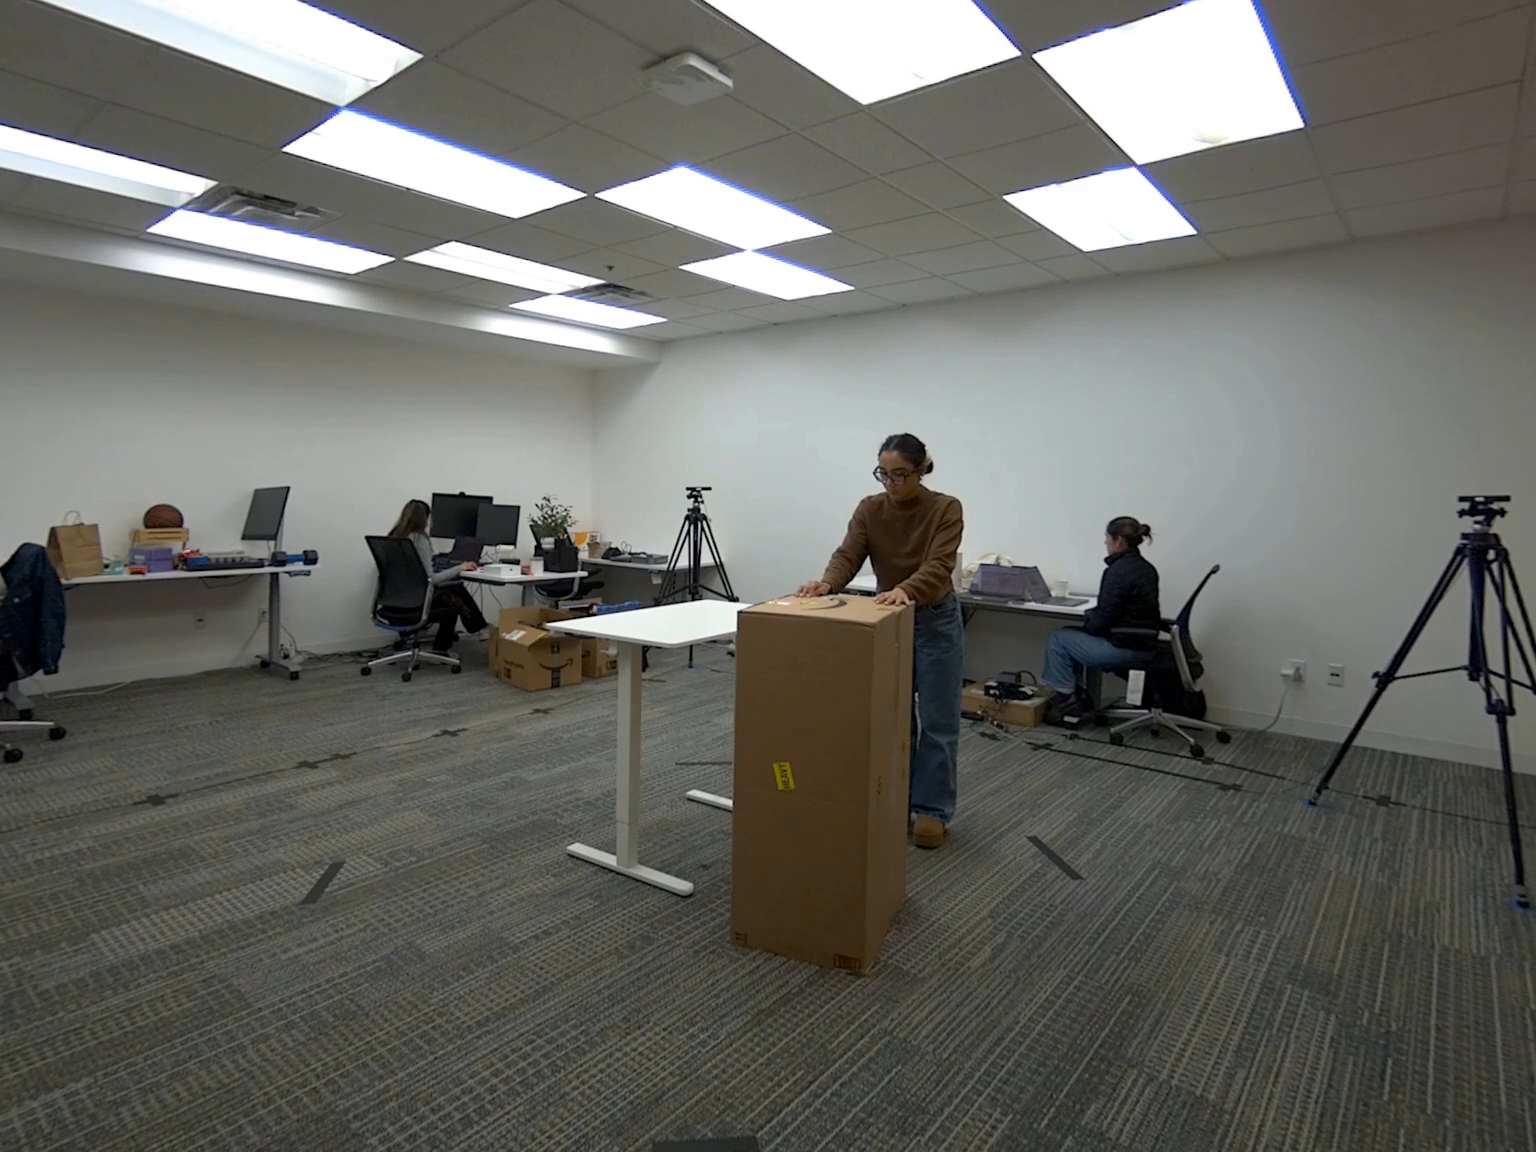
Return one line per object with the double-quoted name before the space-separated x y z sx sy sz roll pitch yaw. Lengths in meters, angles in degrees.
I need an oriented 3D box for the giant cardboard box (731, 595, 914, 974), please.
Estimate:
"giant cardboard box" 0.183 0.597 2.745 0.437 1.023 0.565 3 4 22
